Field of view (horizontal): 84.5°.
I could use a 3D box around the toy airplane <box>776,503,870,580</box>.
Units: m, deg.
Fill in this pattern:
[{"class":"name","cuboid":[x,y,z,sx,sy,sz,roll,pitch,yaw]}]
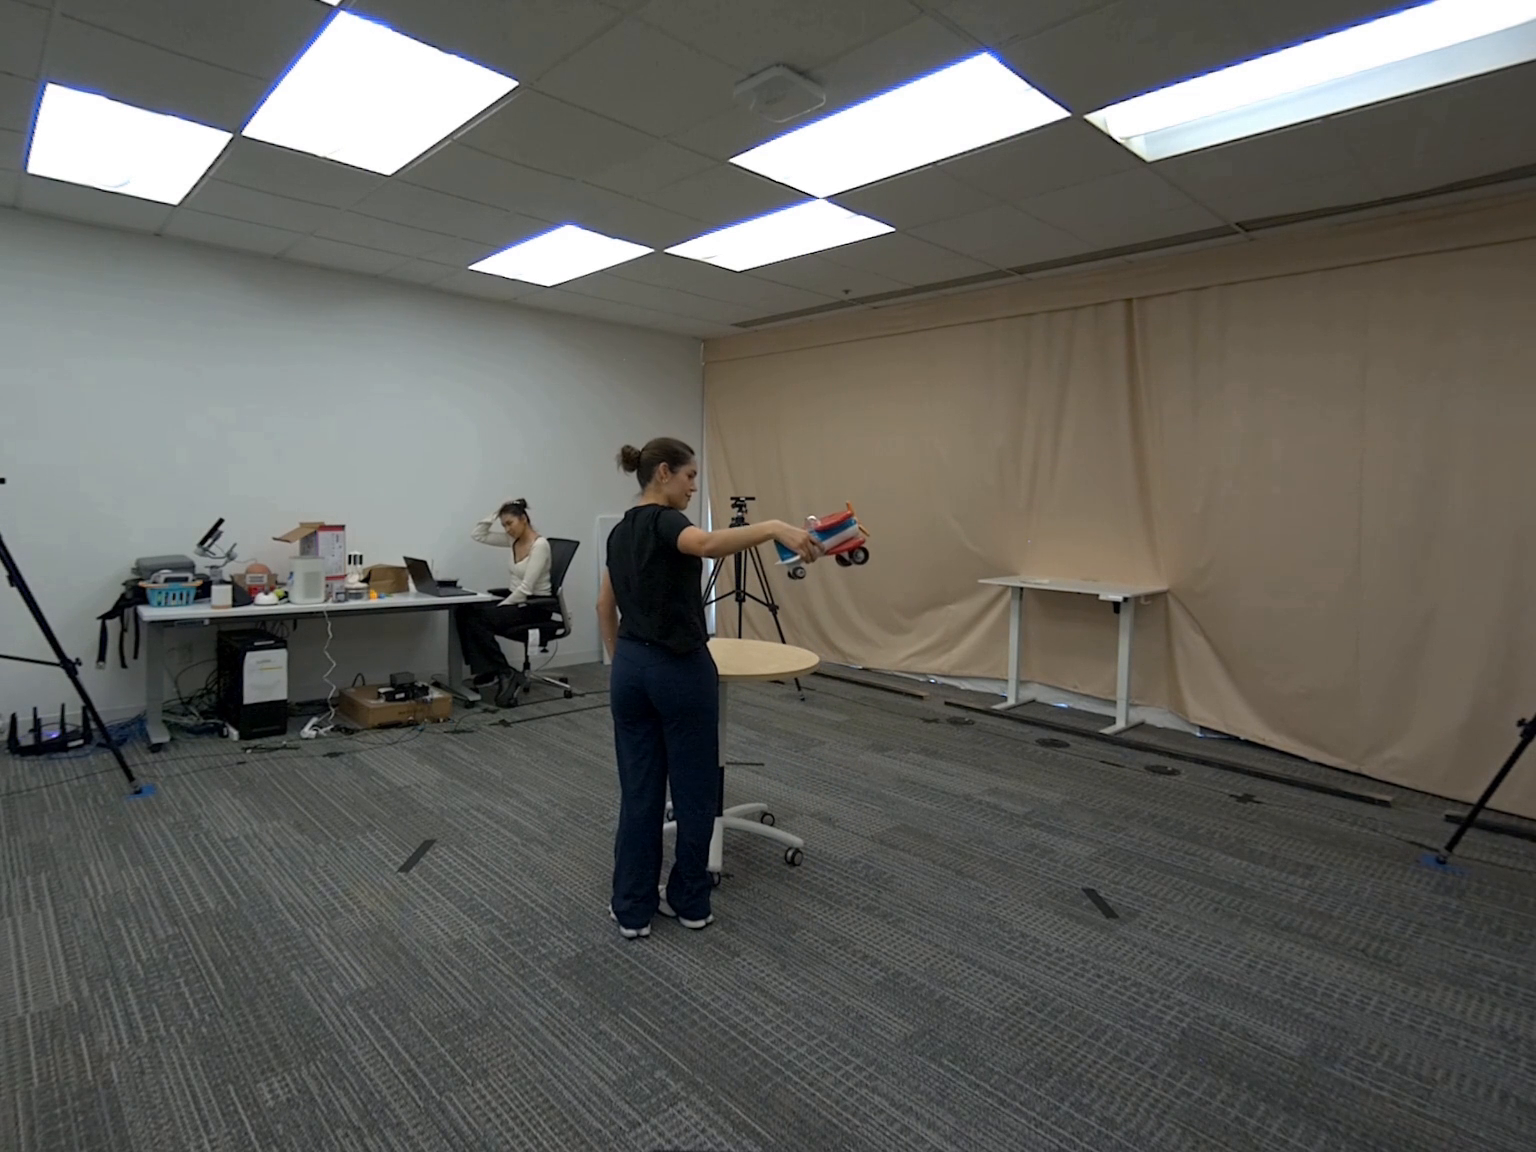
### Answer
[{"class":"toy airplane","cuboid":[0.155,-0.083,2.312,0.255,0.156,0.254,-13,1,44]}]
